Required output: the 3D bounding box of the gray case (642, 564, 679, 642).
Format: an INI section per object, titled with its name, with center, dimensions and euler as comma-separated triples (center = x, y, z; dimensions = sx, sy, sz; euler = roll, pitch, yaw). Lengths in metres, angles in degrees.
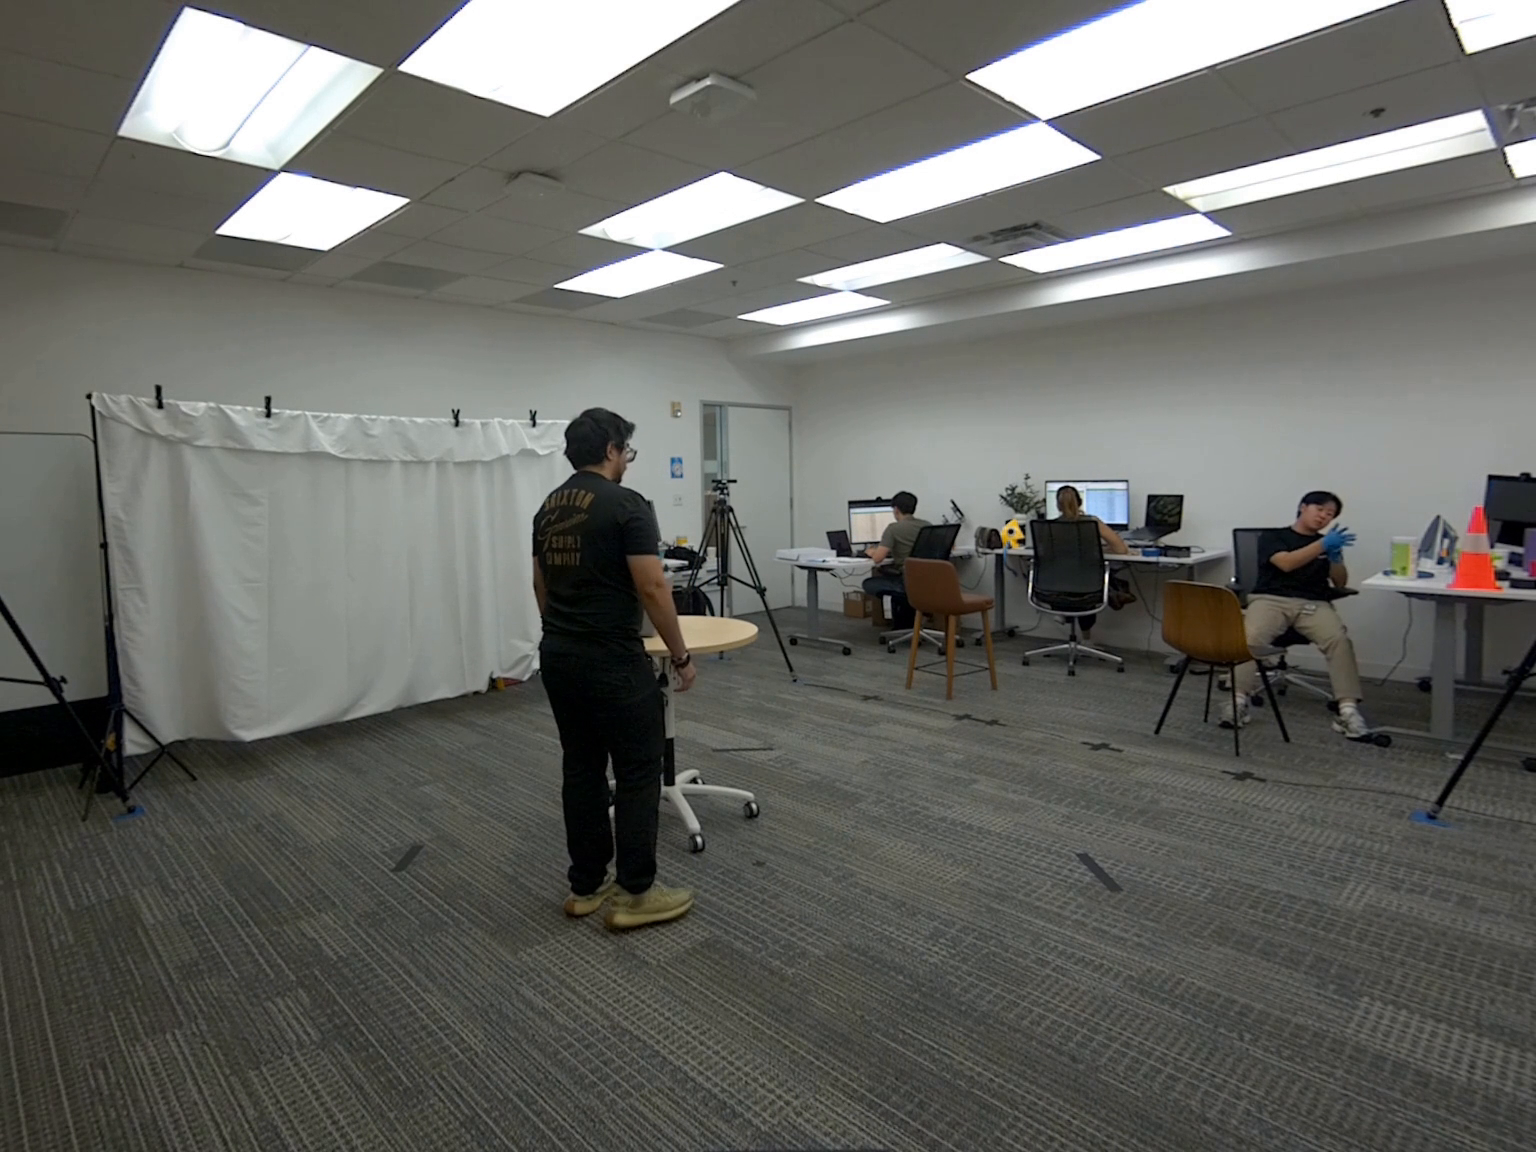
[gray case]
center = -0.455, 0.101, 3.475
dimensions = 0.105, 0.259, 0.257
euler = 9, 7, 4
